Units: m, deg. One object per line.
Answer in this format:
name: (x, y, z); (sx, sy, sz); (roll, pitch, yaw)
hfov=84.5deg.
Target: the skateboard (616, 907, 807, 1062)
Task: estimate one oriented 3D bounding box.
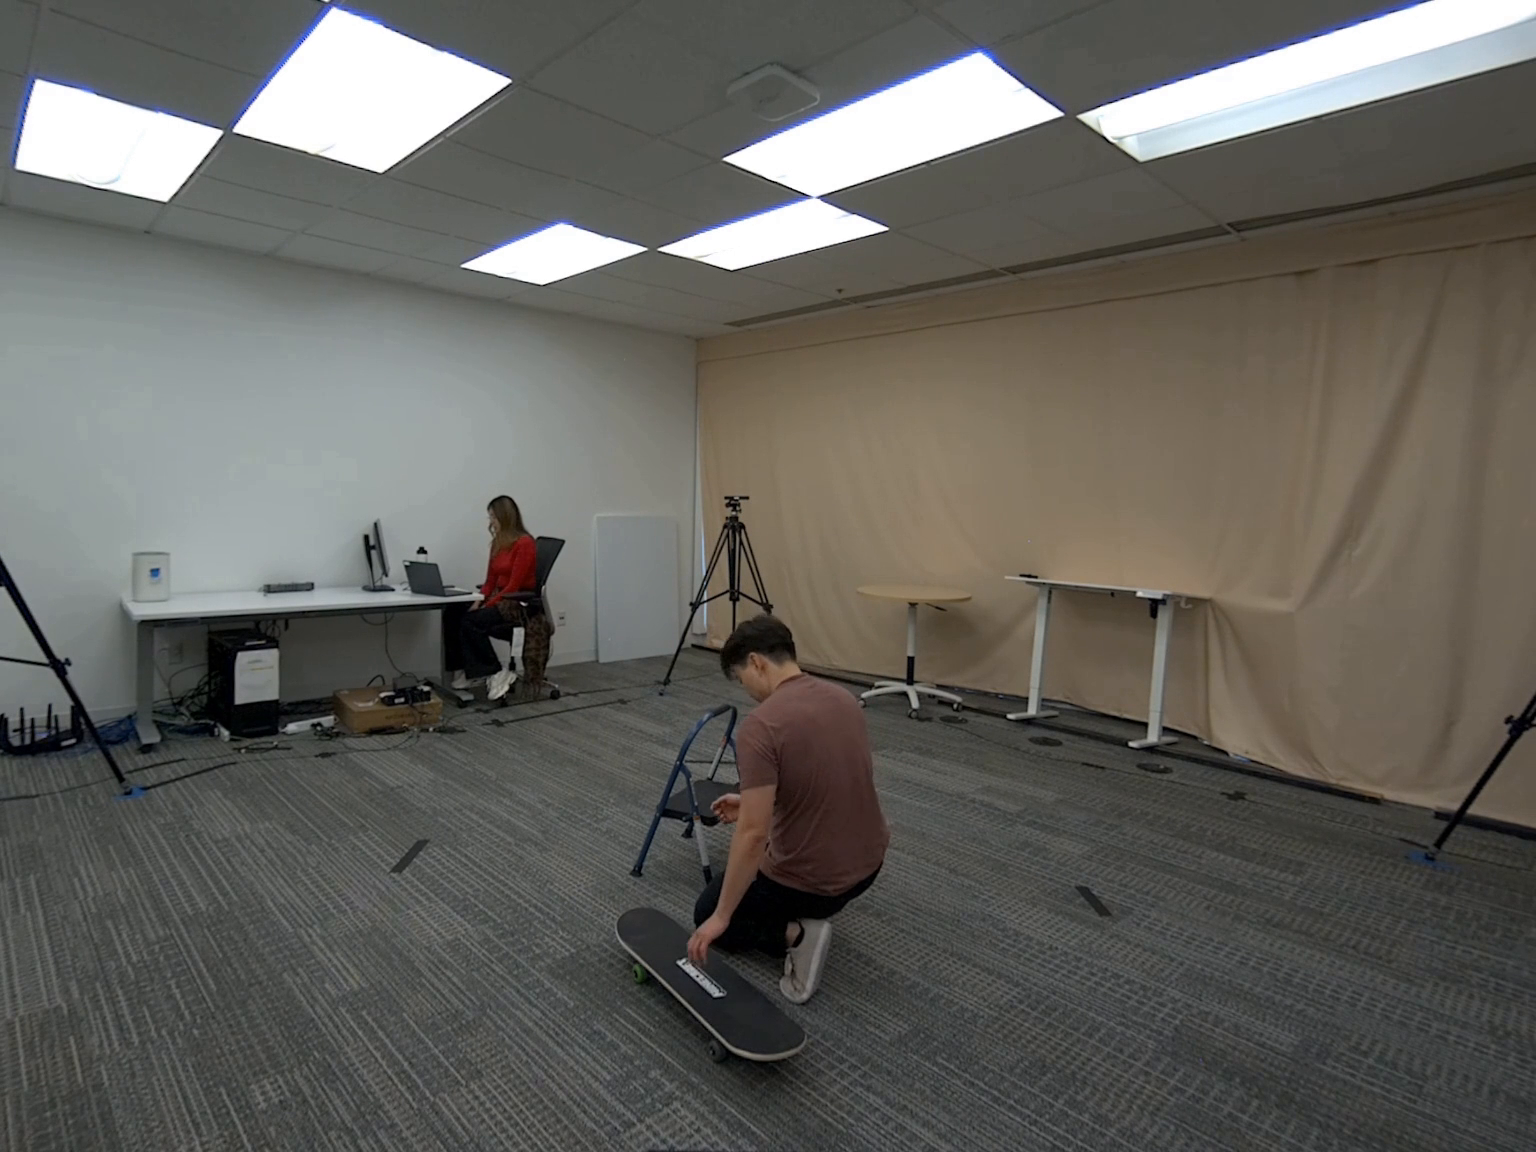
skateboard: (-0.193, 1.124, 2.287); (0.189, 0.110, 0.805); (-3, 7, -35)
